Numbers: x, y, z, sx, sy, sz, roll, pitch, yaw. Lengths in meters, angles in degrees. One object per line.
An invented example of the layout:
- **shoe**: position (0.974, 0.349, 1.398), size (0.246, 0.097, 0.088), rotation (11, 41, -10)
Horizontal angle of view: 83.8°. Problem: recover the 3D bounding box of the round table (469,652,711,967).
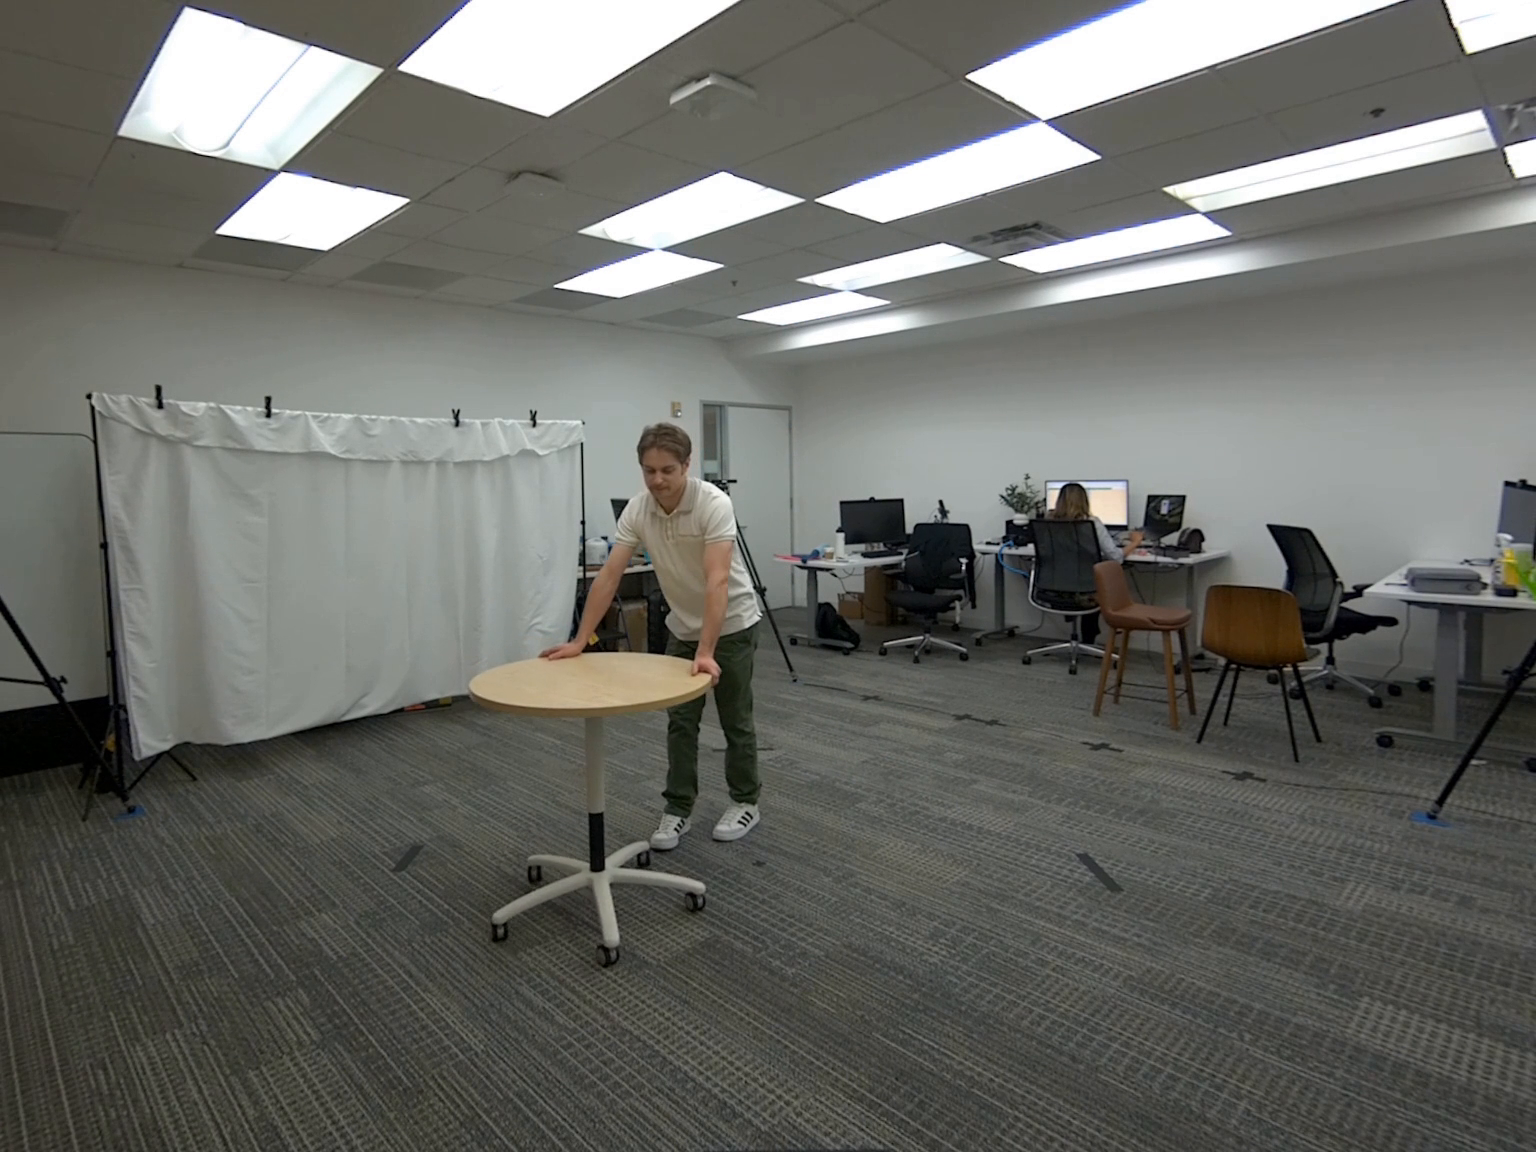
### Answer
- **round table**: position (-0.557, 0.712, 2.768), size (0.763, 0.791, 0.768), rotation (-1, 5, -2)
